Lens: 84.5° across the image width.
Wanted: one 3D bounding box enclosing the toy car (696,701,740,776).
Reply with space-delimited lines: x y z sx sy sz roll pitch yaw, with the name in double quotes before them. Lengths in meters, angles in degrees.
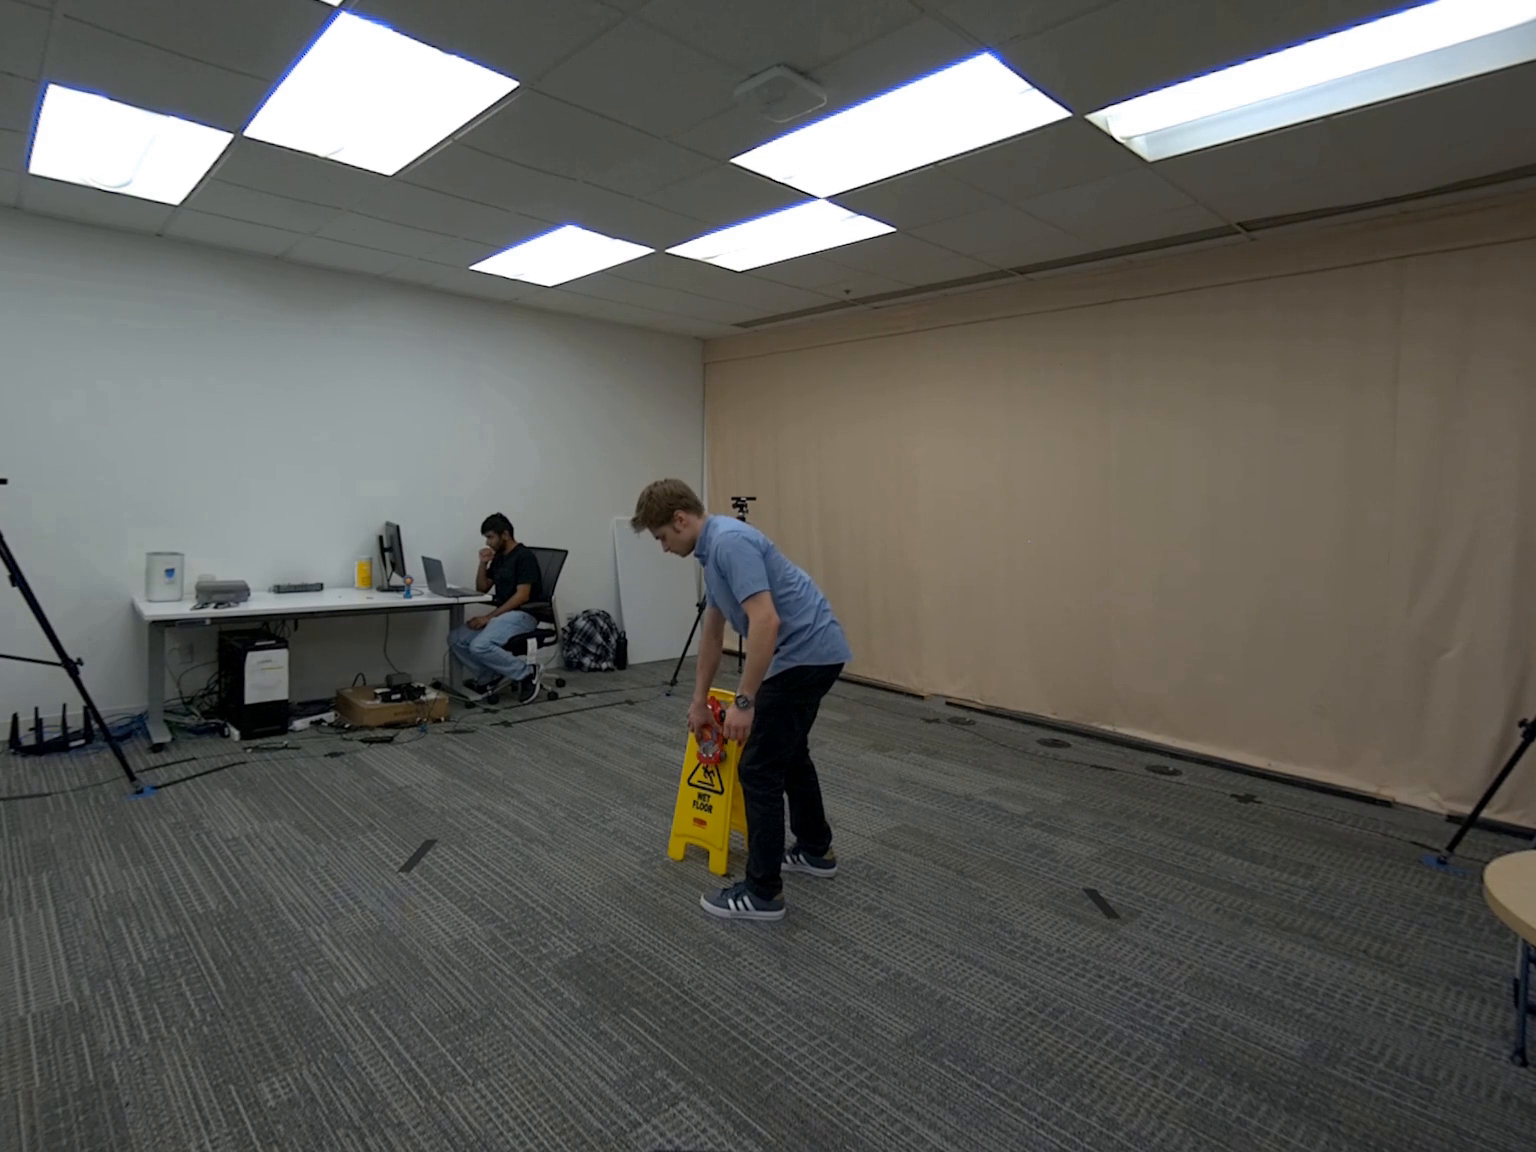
"toy car" -0.195 0.609 3.197 0.133 0.255 0.081 -6 -4 31
